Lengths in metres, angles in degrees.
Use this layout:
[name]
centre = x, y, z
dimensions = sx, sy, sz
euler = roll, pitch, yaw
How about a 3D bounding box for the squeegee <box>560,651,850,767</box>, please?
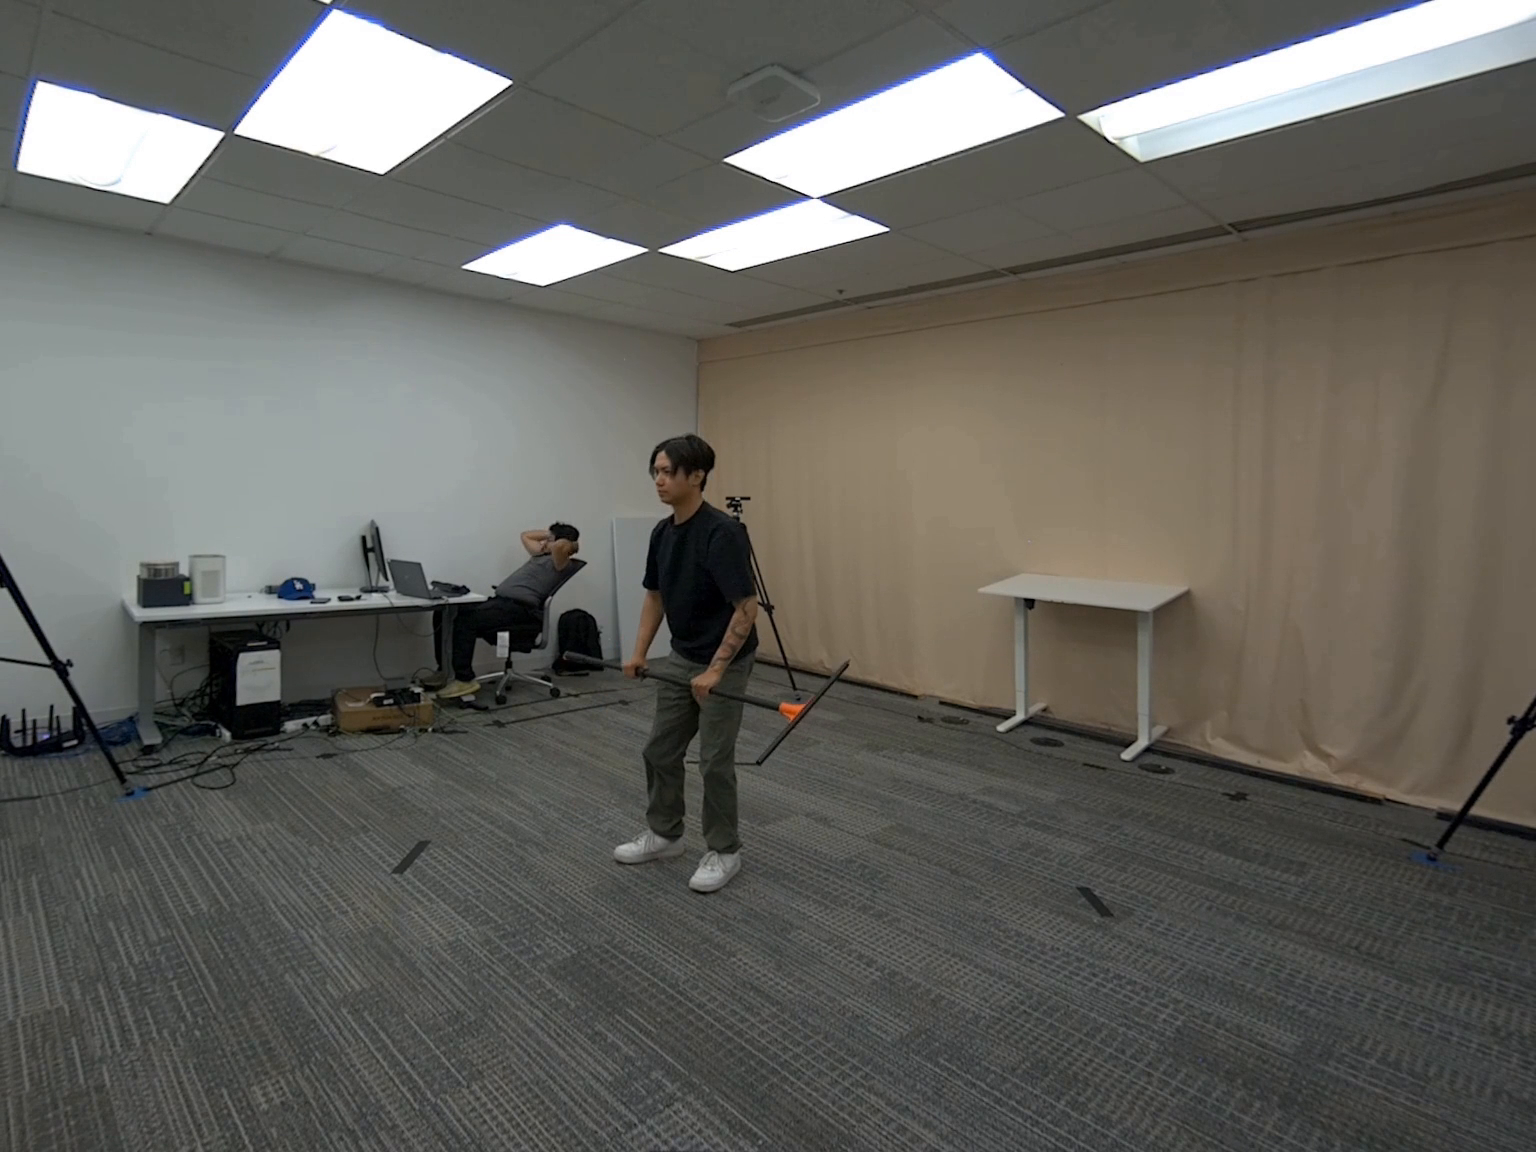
[squeegee]
centre = -0.381, 0.374, 3.057
dimensions = 1.574, 0.052, 0.437
euler = 2, 40, 50
